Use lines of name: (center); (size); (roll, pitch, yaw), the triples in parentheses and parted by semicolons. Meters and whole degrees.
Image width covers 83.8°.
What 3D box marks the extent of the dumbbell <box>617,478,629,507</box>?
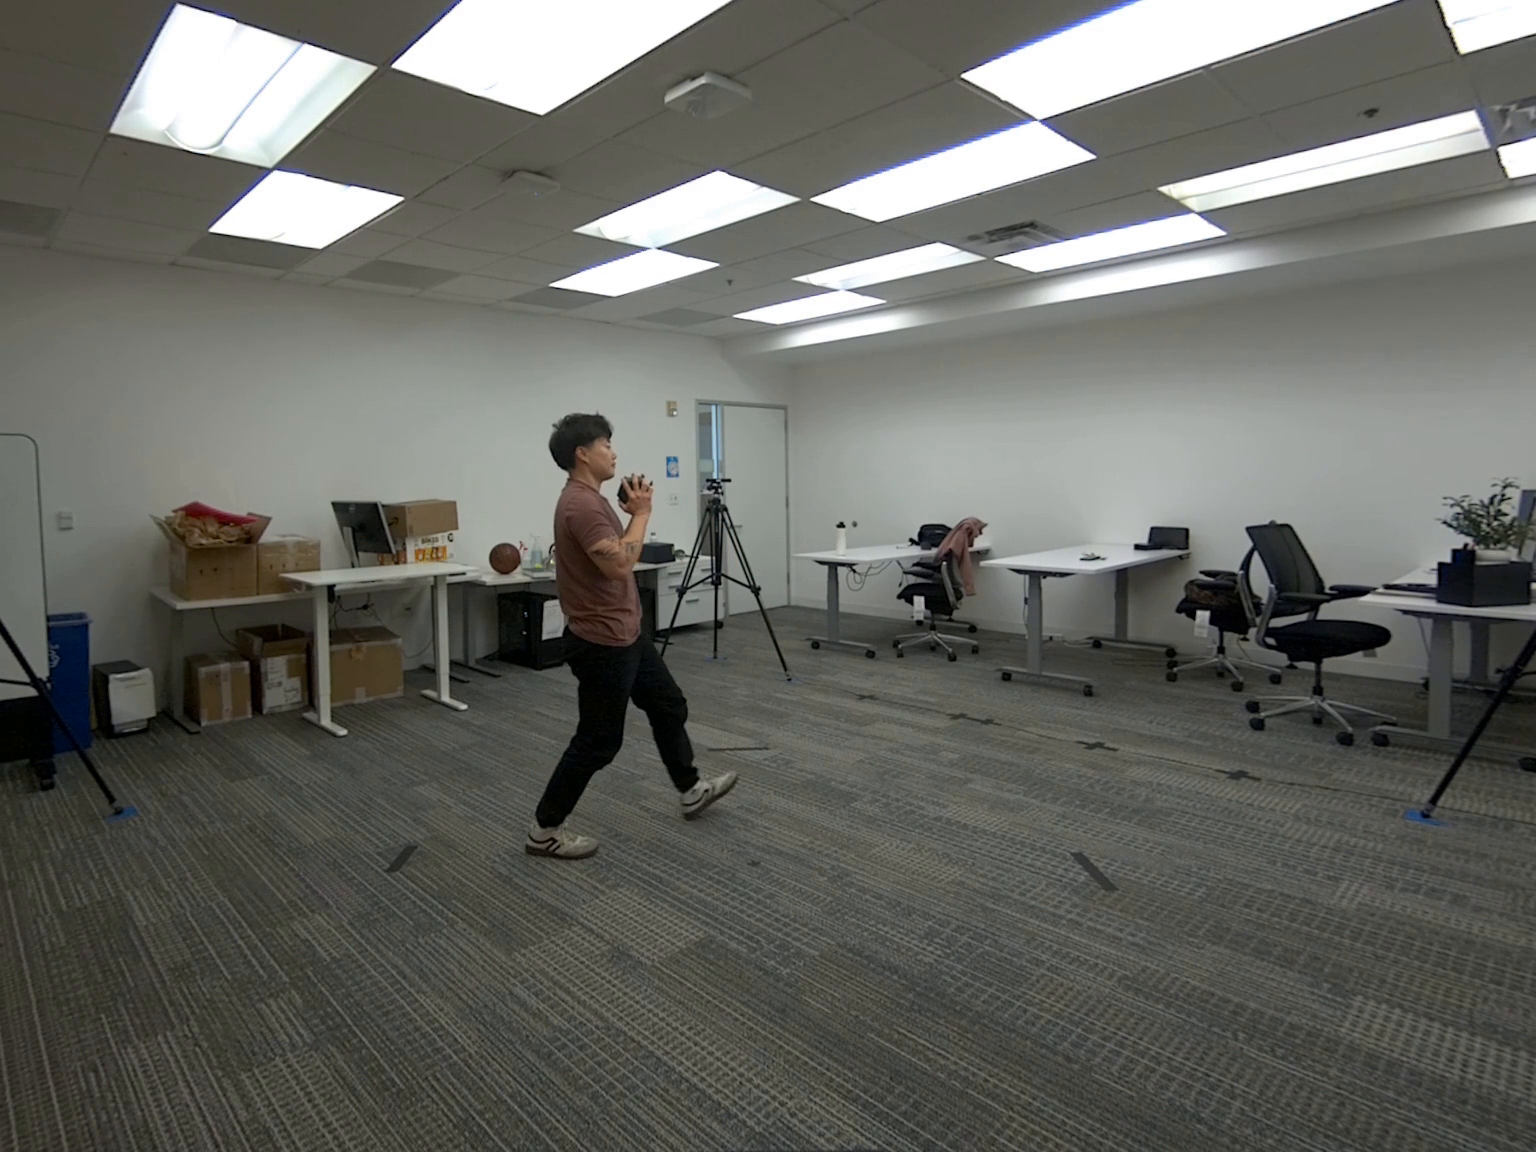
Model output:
dumbbell: (-0.545, -0.309, 3.259); (0.123, 0.107, 0.296); (-12, 10, 1)
